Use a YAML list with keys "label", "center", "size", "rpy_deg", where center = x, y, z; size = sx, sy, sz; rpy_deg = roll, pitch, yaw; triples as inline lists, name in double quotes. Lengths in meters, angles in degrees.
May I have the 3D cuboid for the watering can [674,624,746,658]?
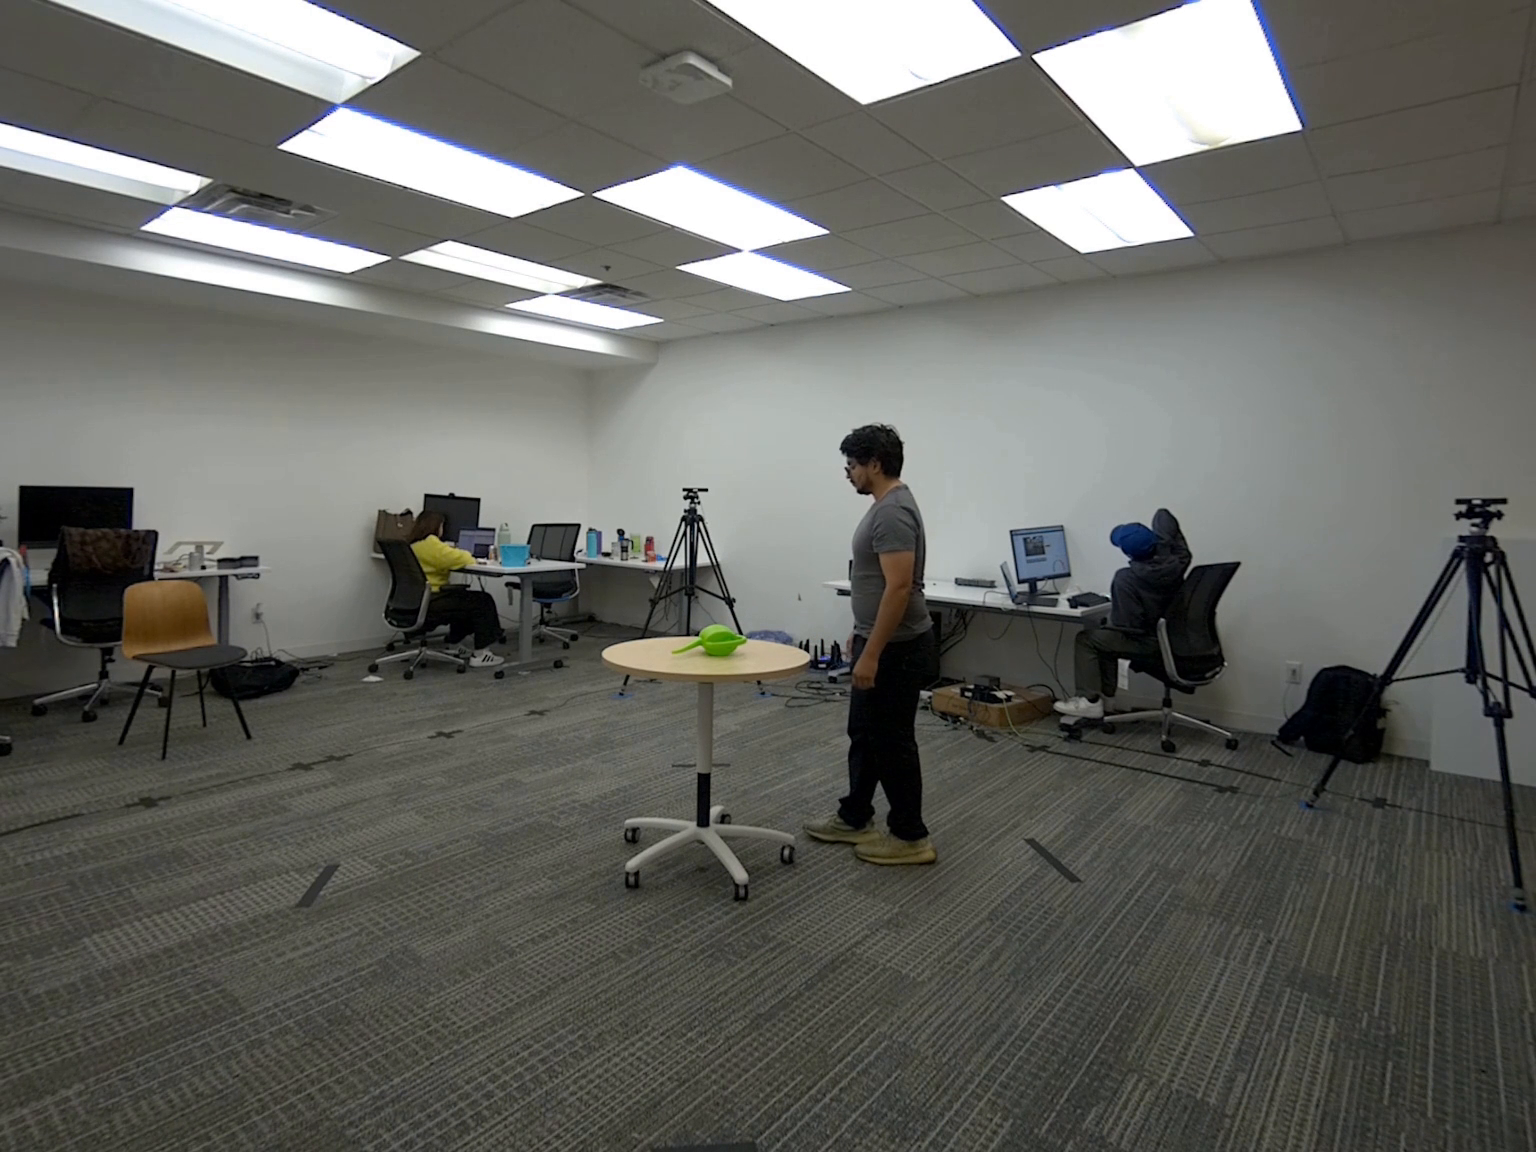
- label: "watering can"
  center: [-0.227, 0.233, 3.127]
  size: [0.274, 0.098, 0.179]
  rpy_deg: [6, 3, -12]
